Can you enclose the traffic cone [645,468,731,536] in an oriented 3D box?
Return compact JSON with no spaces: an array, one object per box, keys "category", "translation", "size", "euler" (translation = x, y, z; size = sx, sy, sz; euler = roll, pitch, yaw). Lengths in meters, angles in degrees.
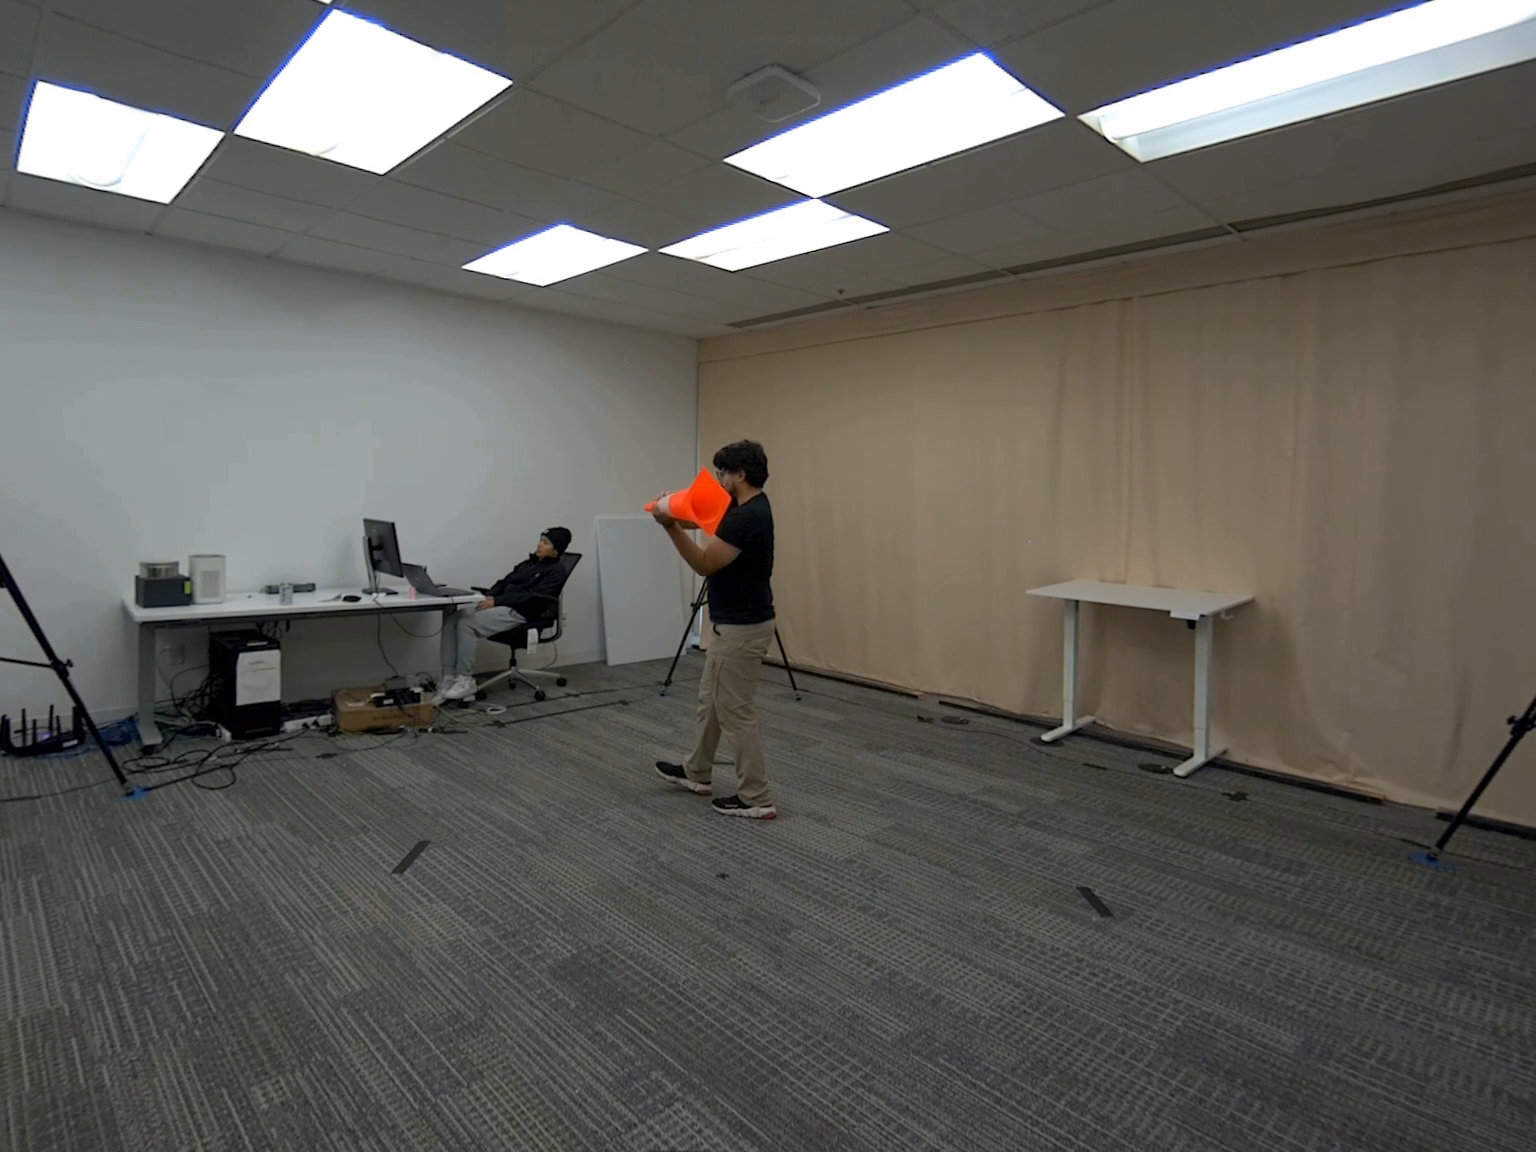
[{"category":"traffic cone","translation":[-0.393,-0.276,3.358],"size":[0.392,0.205,0.199],"euler":[-1,-37,44]}]
